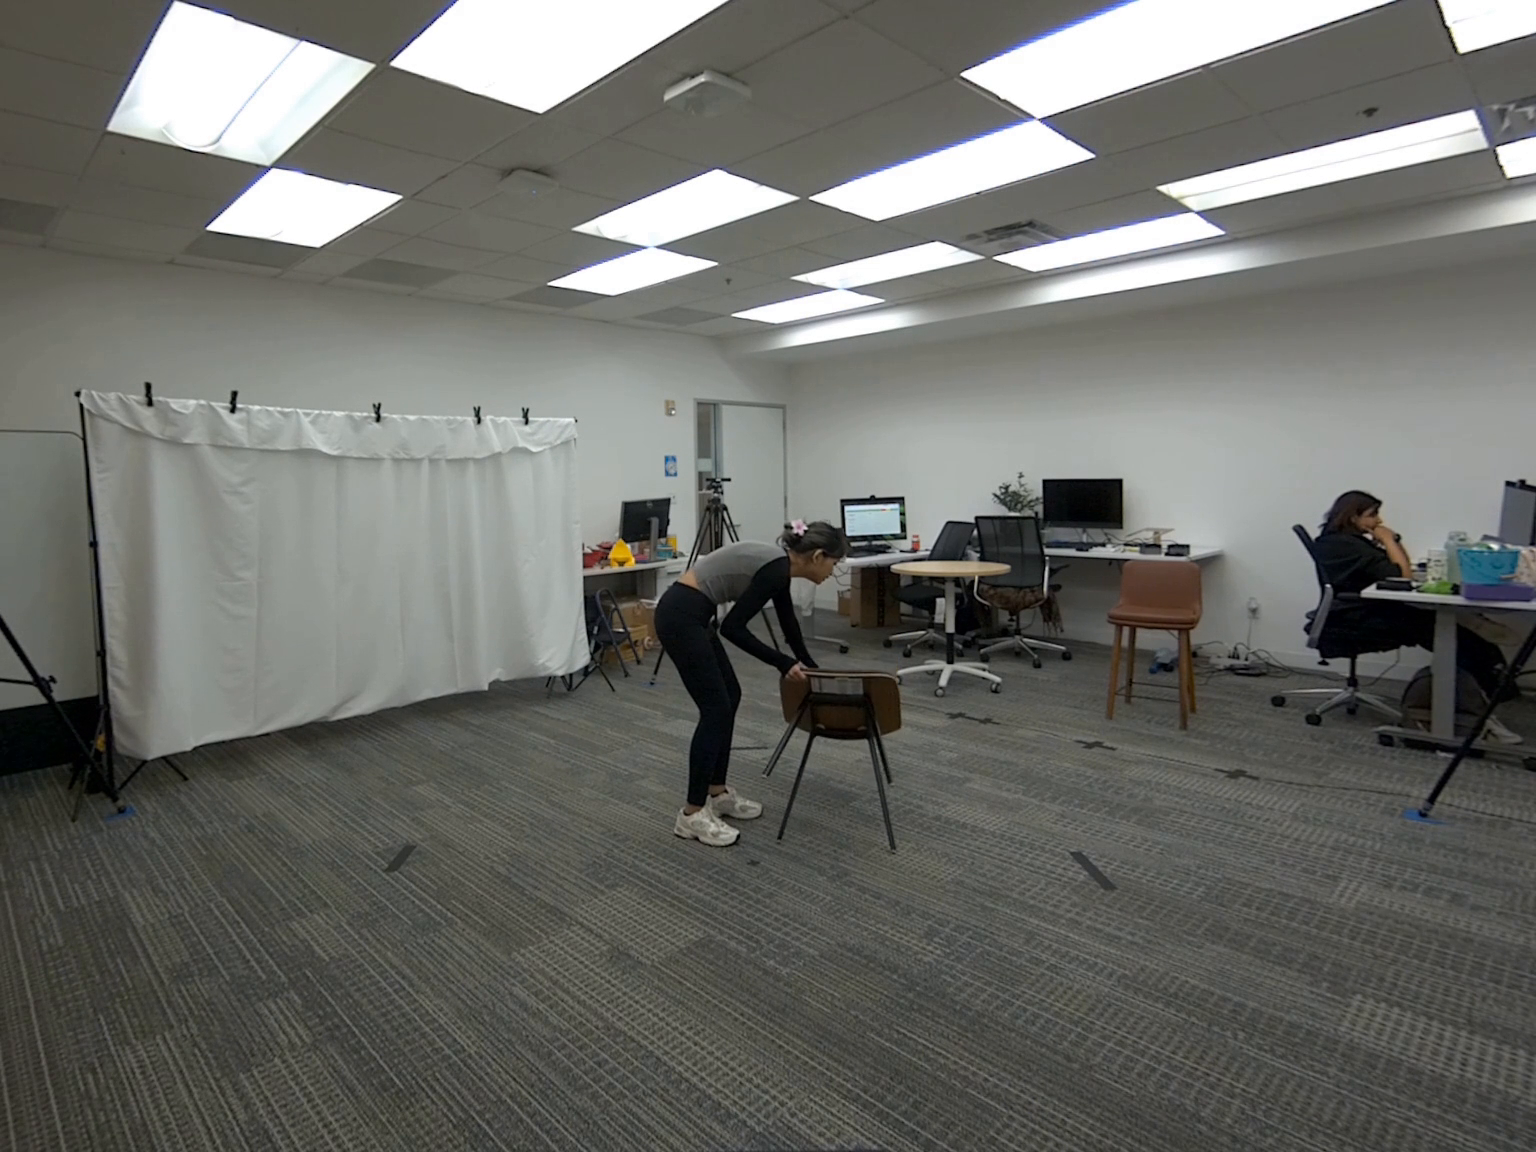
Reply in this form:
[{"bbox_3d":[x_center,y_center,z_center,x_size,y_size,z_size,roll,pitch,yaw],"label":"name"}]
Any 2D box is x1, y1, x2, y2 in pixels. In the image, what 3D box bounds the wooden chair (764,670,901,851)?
[{"bbox_3d":[0.280,0.560,3.369,0.484,0.507,0.894,0,39,11],"label":"wooden chair"}]
